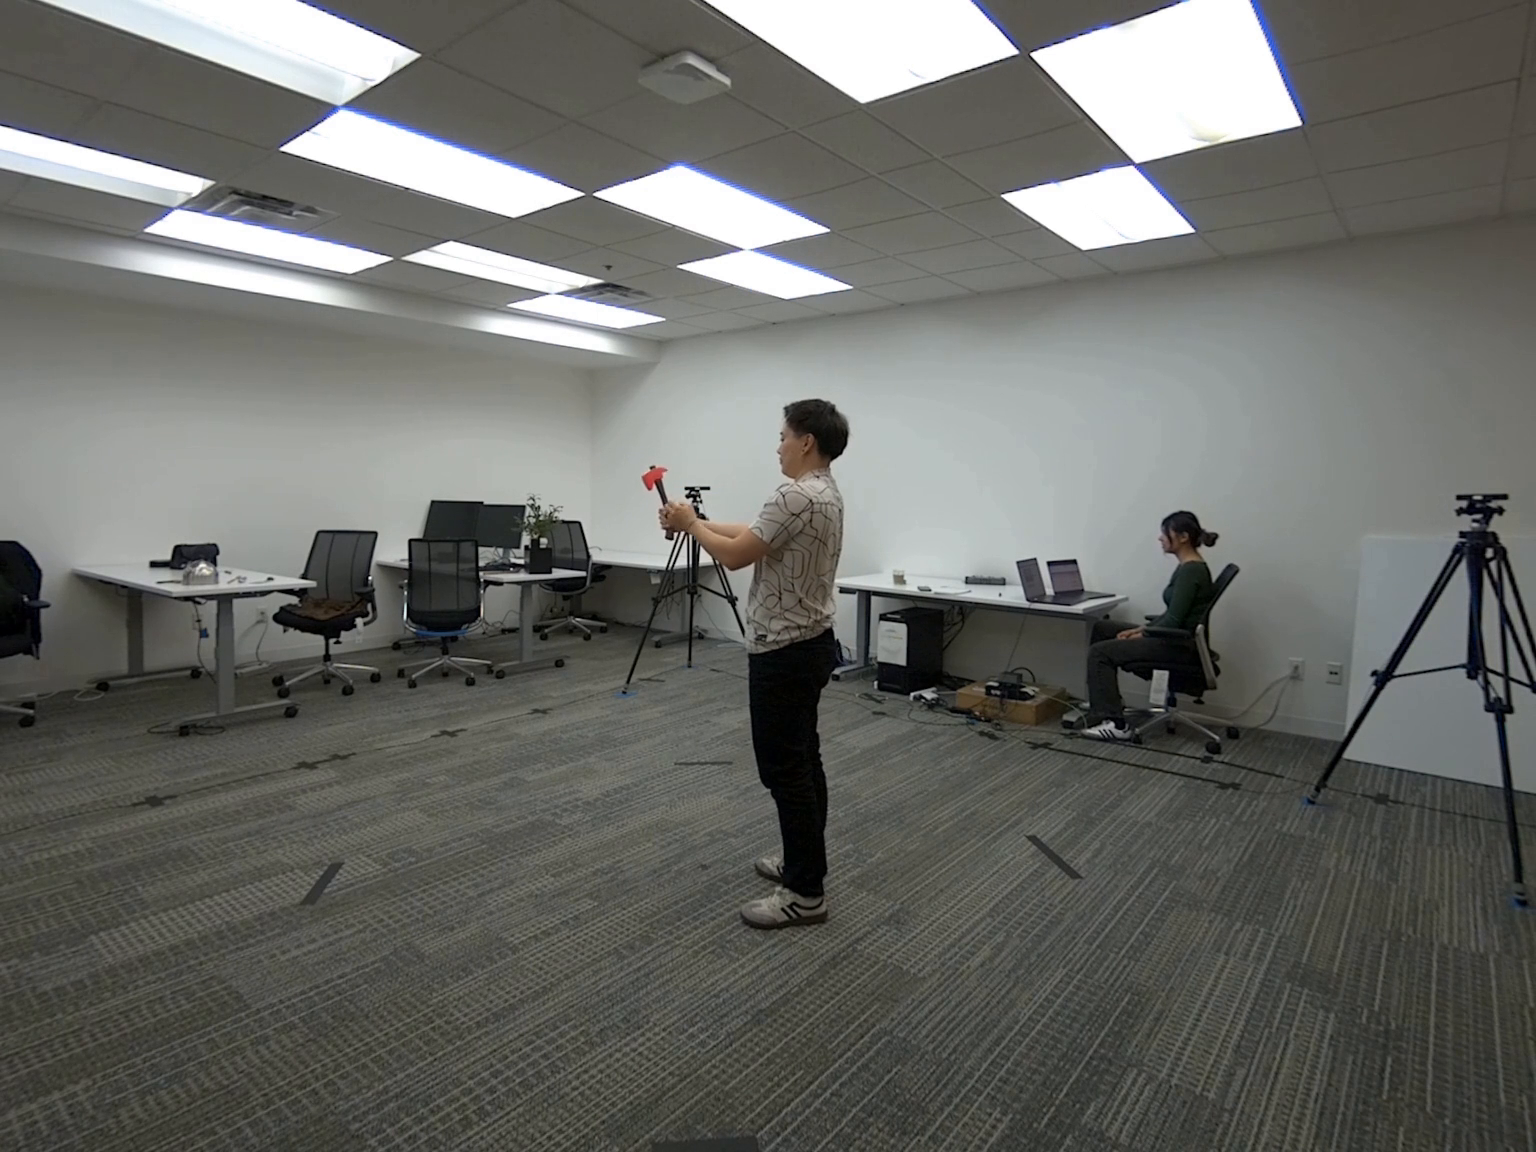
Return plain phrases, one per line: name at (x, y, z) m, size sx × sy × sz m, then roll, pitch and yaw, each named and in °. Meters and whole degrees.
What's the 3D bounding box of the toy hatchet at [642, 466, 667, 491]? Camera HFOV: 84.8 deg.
toy hatchet at (-0.395, -0.261, 3.013) m, size 0.030 × 0.273 × 0.127 m, roll -18°, pitch -13°, yaw 38°
